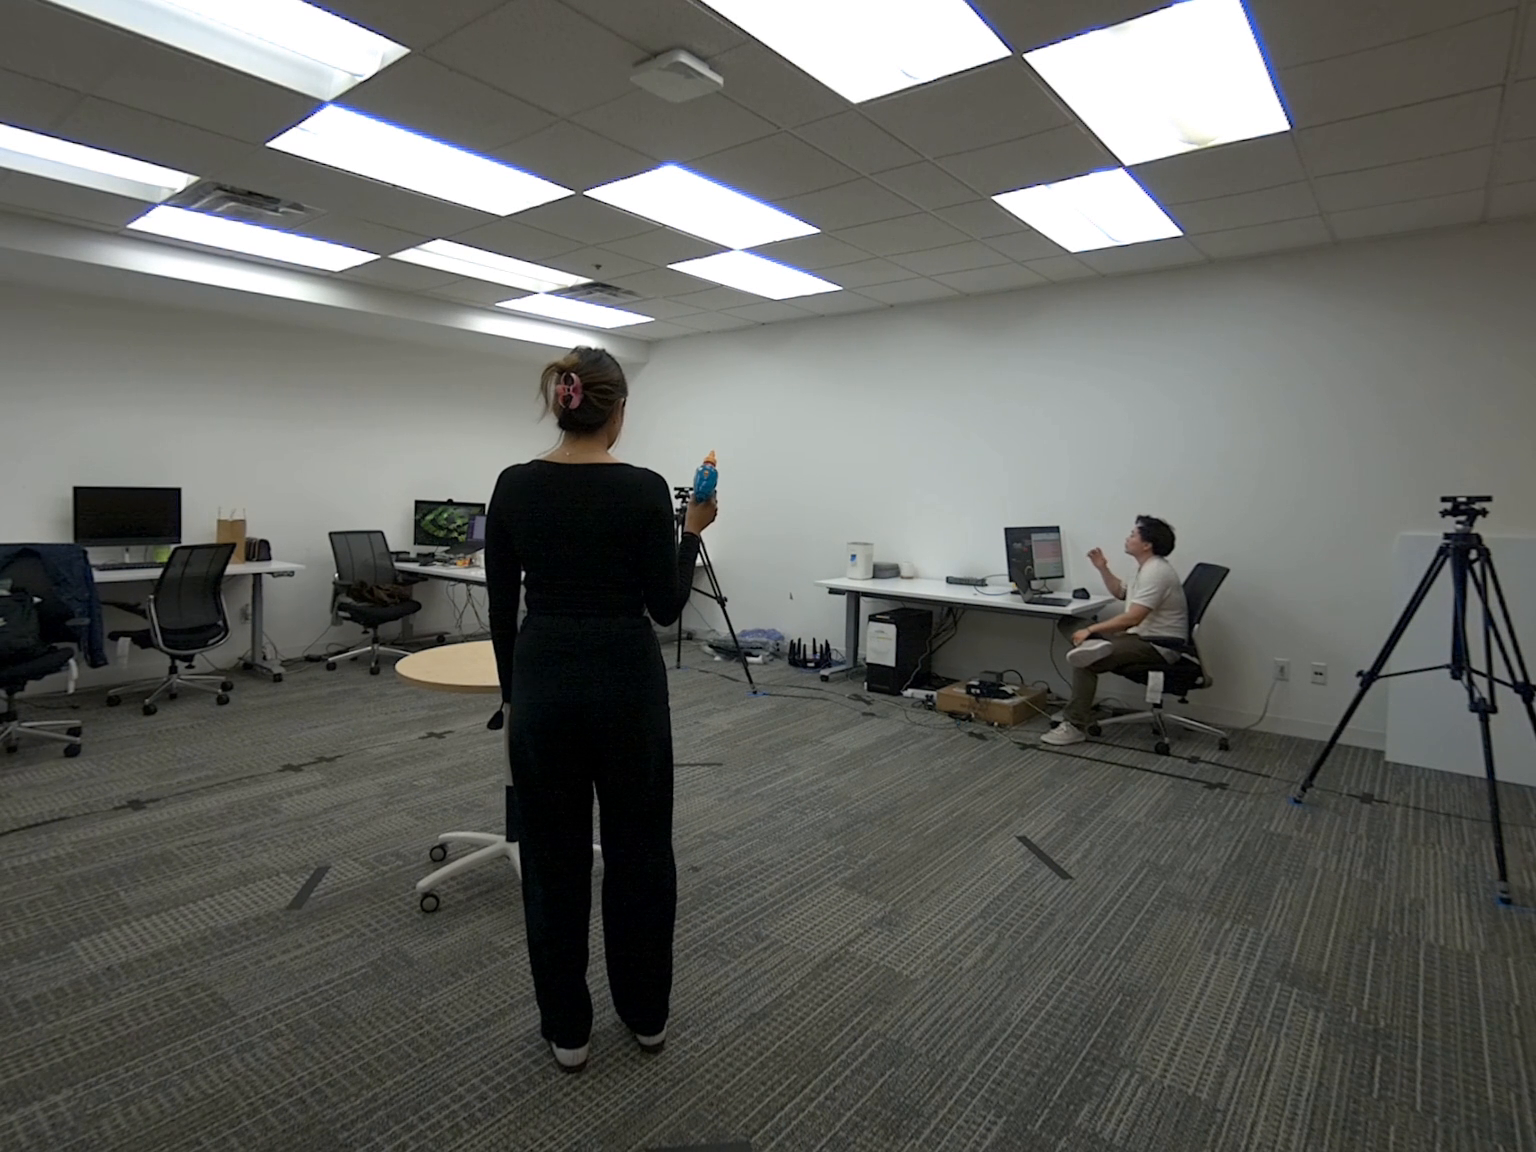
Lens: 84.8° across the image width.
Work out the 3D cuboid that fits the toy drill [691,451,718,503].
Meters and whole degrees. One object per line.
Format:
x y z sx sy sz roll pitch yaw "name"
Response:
-0.168 -0.243 2.232 0.061 0.174 0.142 6 -36 -3 "toy drill"
